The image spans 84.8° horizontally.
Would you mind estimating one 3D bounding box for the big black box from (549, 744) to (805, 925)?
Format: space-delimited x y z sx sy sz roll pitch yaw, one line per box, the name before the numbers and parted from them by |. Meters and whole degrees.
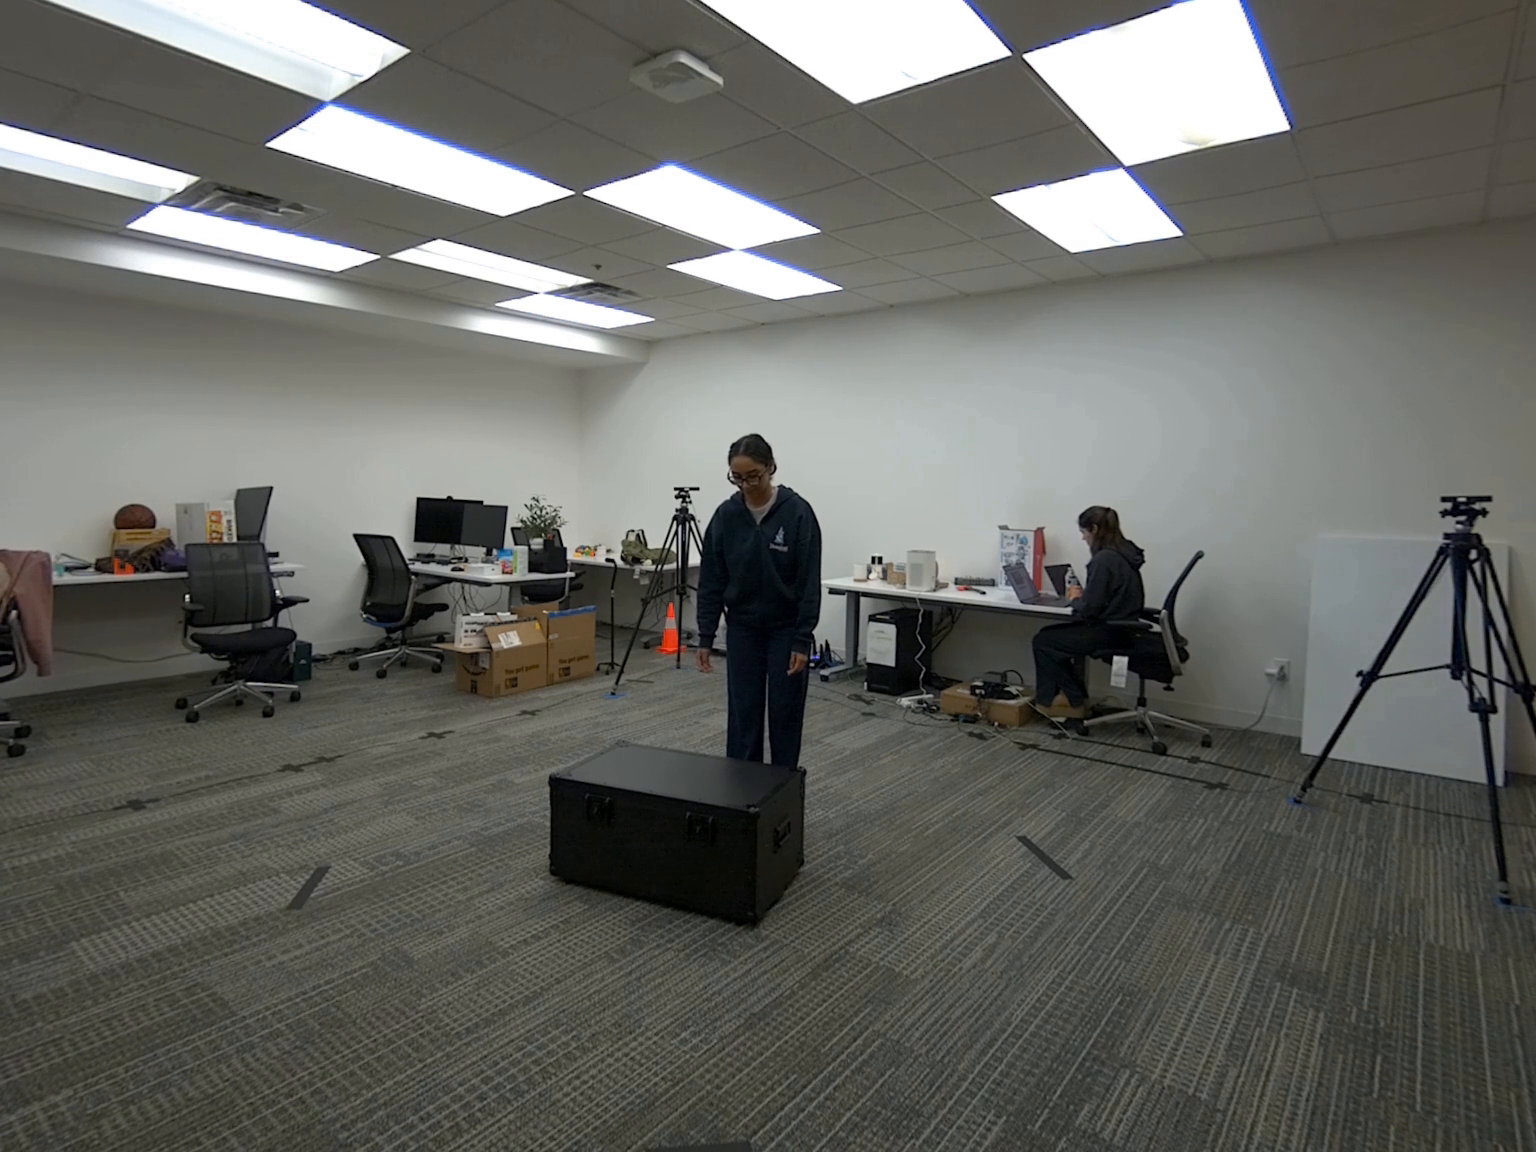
big black box | -0.359 0.879 3.052 0.882 0.395 0.511 3 5 23
